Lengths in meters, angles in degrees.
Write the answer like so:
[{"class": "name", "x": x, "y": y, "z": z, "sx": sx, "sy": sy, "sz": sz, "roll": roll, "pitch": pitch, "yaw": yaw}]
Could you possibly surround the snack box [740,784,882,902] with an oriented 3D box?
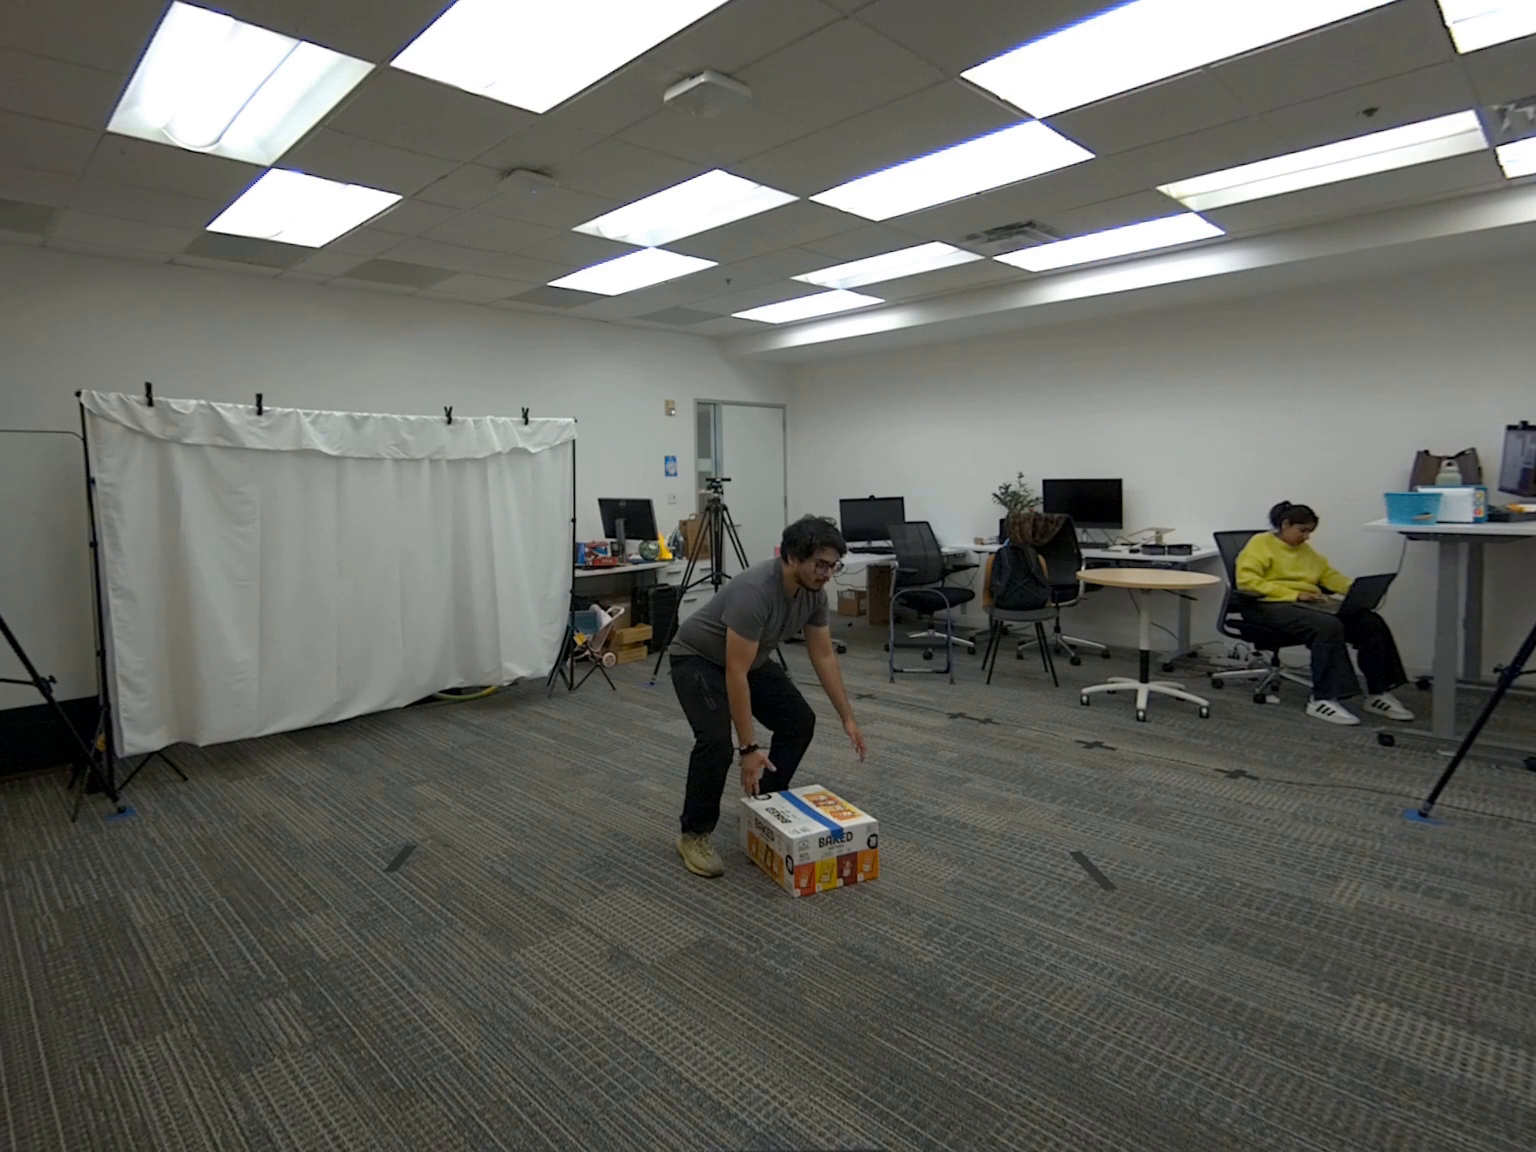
[{"class": "snack box", "x": 0.144, "y": 0.941, "z": 3.079, "sx": 0.333, "sy": 0.205, "sz": 0.415, "roll": -4, "pitch": 7, "yaw": -26}]
